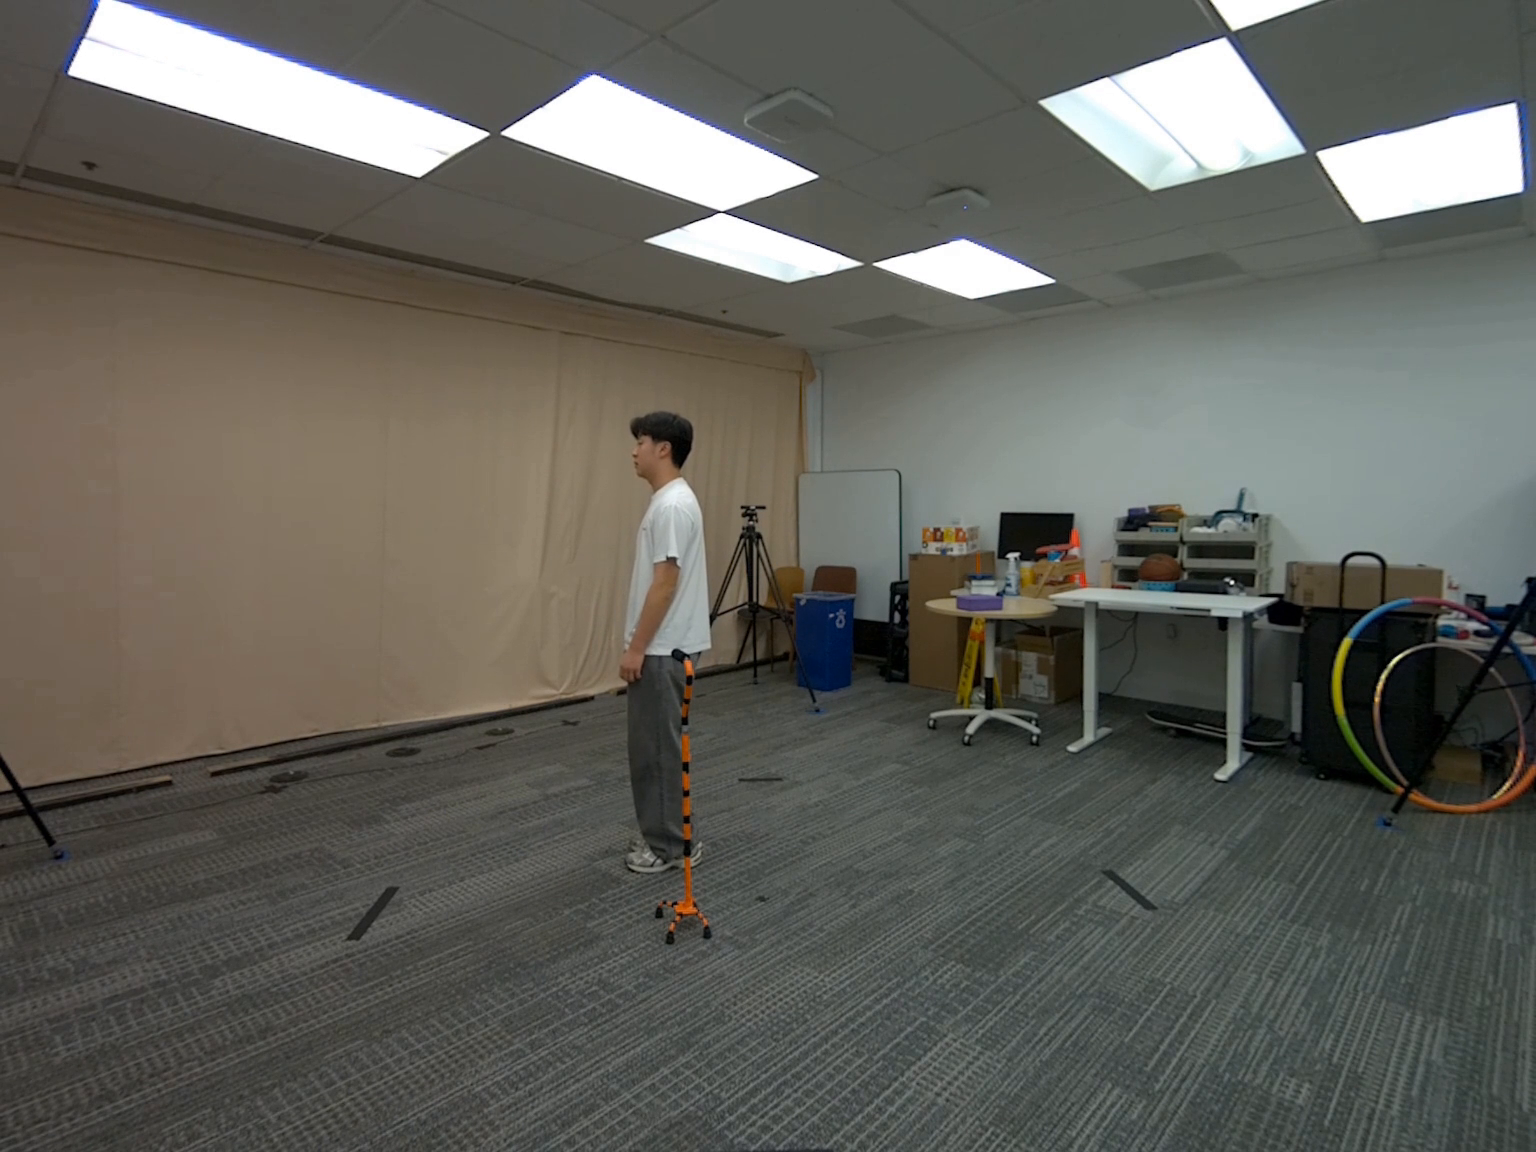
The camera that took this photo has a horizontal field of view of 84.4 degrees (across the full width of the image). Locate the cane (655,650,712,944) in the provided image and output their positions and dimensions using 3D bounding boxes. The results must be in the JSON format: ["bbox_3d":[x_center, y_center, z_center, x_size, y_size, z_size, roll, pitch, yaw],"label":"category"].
[{"bbox_3d":[-0.269,0.713,2.767,0.149,0.906,0.211,0,3,-19],"label":"cane"}]
